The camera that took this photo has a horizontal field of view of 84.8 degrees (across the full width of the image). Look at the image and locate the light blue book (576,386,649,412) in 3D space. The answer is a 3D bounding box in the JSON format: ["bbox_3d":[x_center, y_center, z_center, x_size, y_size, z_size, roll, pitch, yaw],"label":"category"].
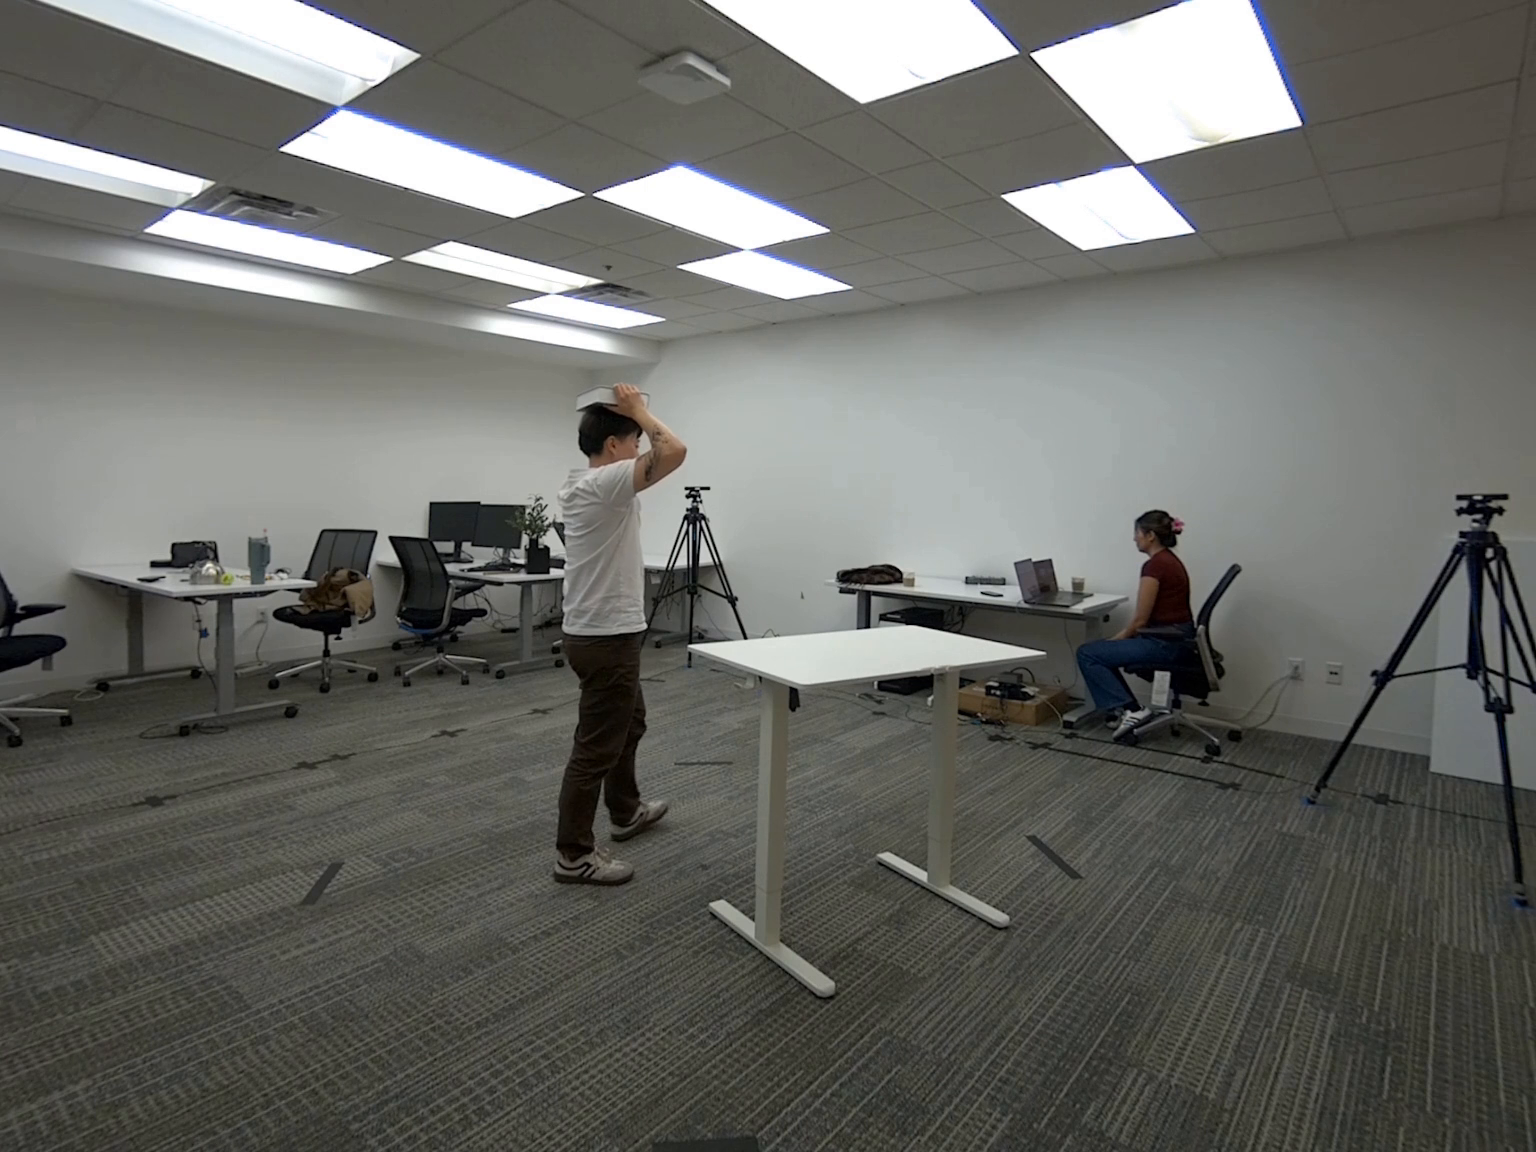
[{"bbox_3d":[-0.575,-0.625,3.053,0.187,0.059,0.267,5,1,-24],"label":"light blue book"}]
